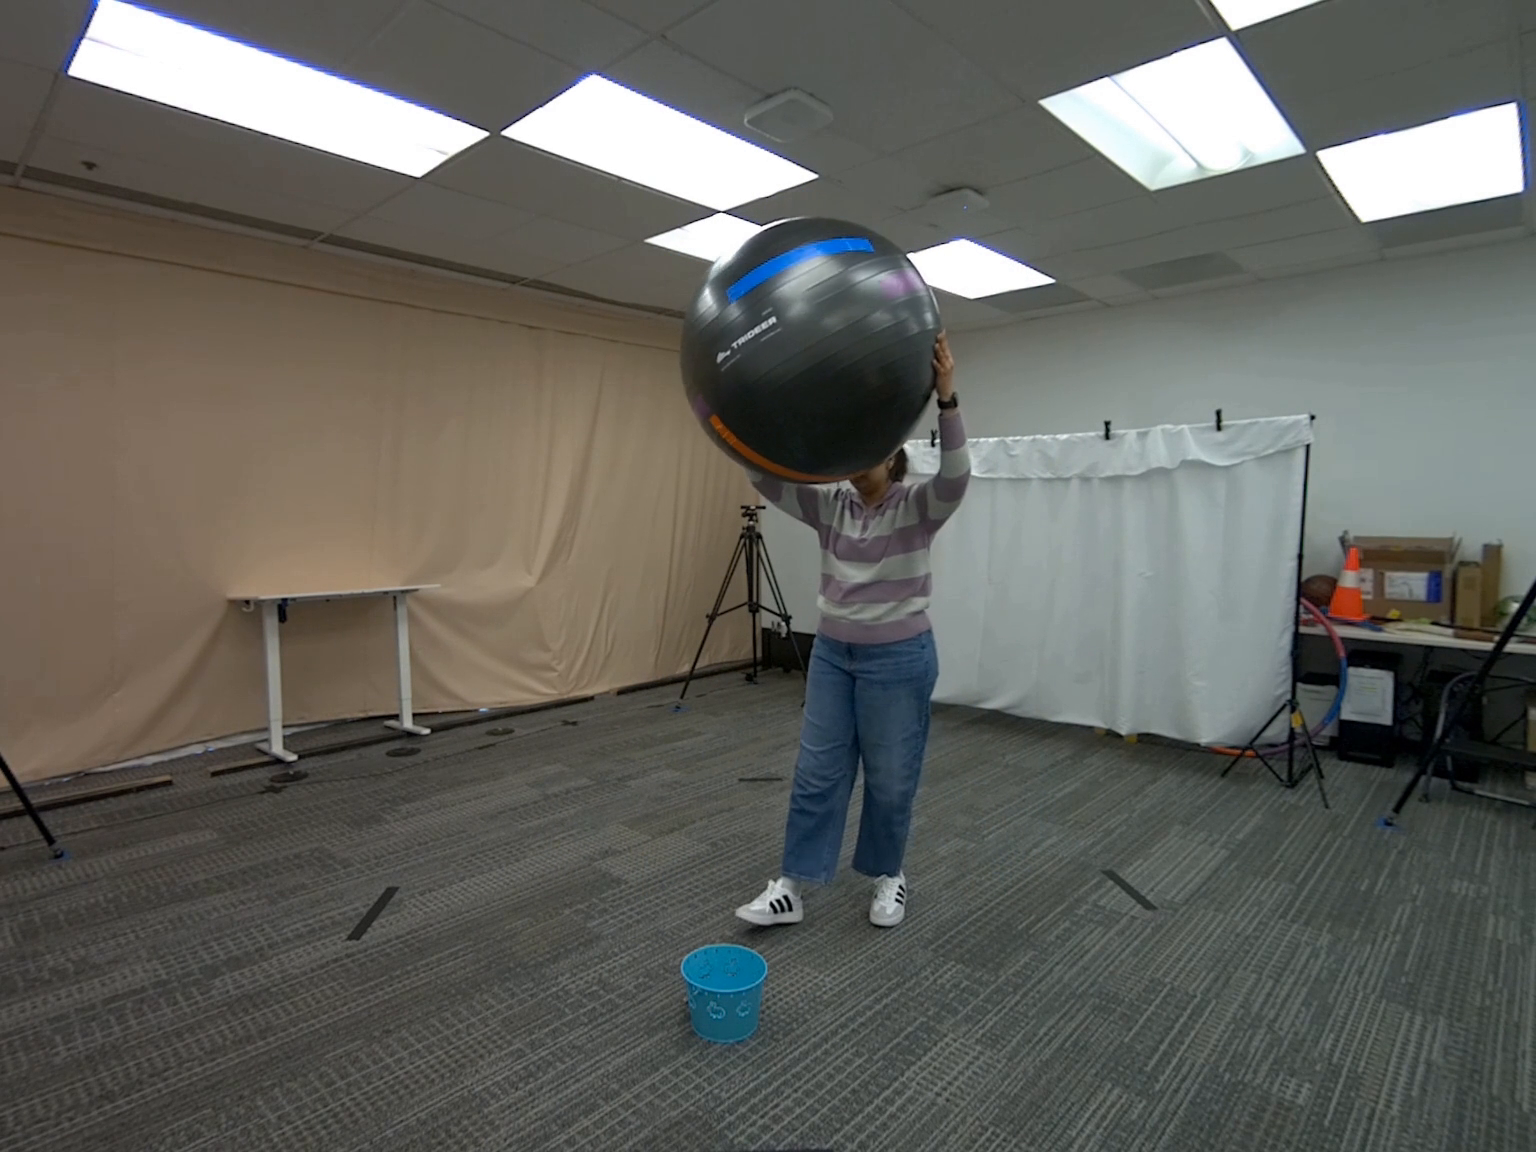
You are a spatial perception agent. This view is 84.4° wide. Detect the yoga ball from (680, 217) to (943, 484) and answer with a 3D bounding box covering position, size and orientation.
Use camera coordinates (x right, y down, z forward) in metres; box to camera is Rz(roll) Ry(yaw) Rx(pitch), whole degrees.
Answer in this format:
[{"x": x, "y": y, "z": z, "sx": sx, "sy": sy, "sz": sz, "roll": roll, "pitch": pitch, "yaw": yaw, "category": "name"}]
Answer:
[{"x": 0.122, "y": -0.638, "z": 2.461, "sx": 0.757, "sy": 0.756, "sz": 0.761, "roll": 0, "pitch": 4, "yaw": -2, "category": "yoga ball"}]
